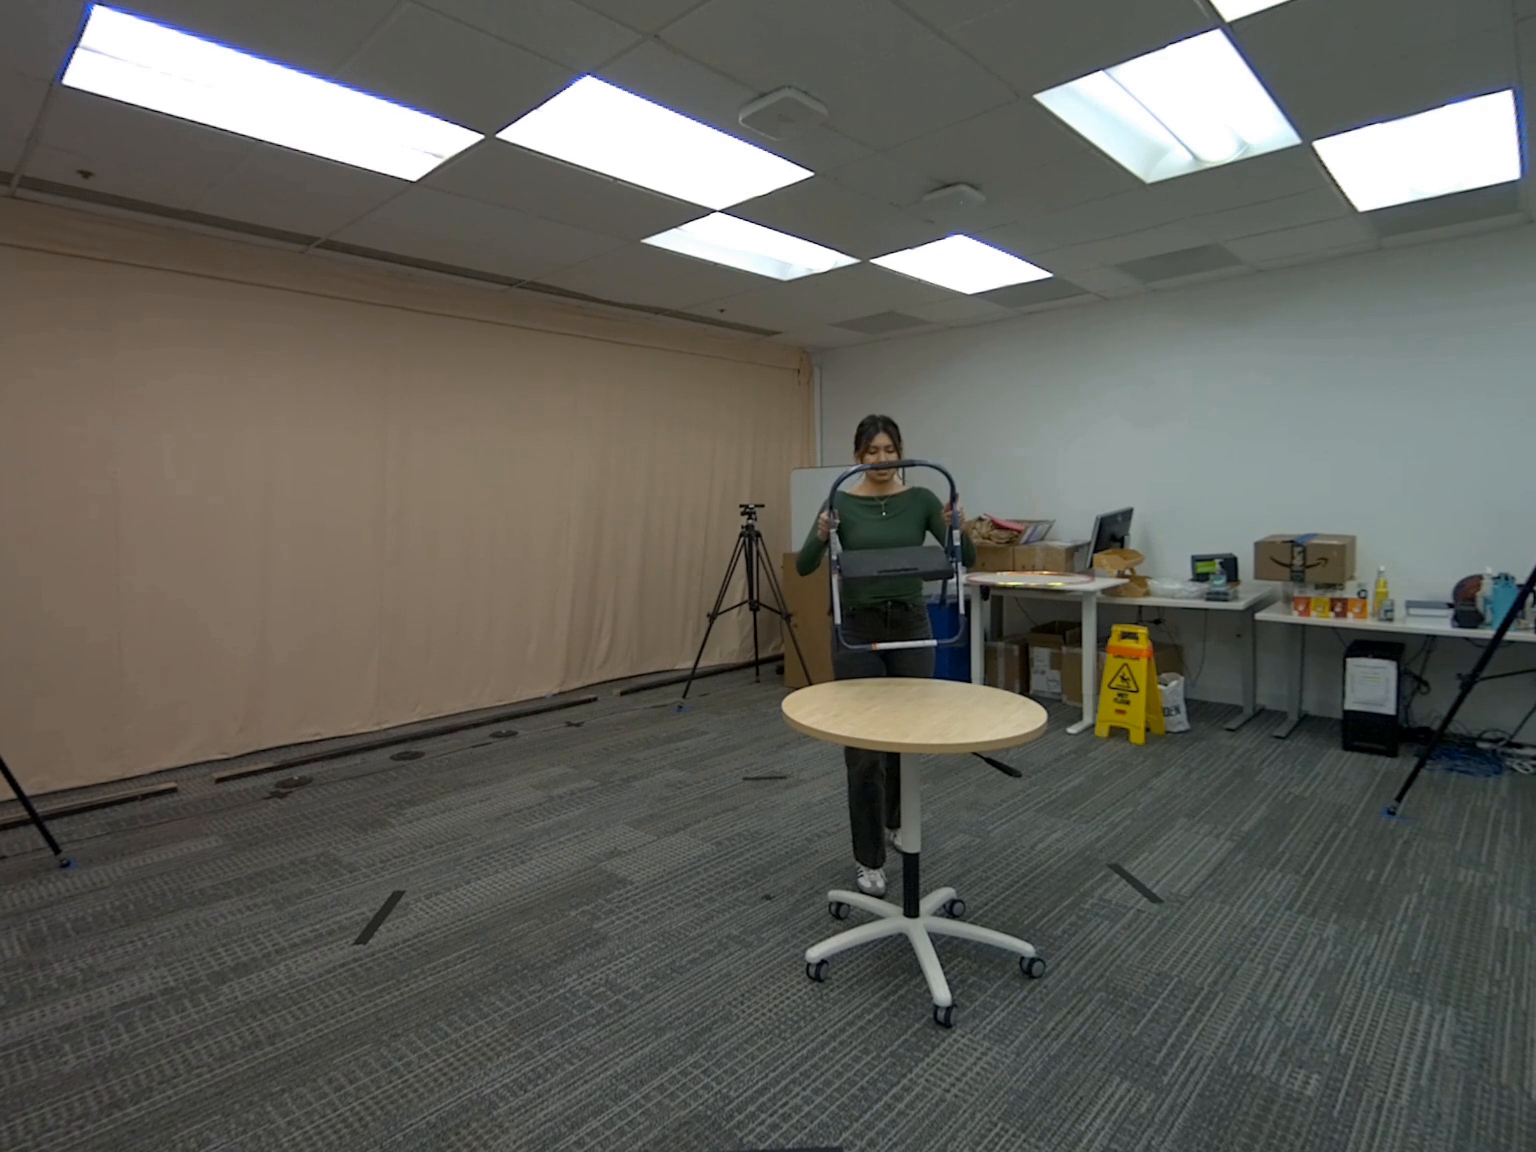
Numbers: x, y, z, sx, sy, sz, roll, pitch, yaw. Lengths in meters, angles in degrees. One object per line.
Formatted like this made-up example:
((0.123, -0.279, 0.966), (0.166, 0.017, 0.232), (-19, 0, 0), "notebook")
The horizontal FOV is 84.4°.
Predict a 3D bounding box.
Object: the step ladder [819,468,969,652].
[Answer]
((0.430, -0.098, 2.773), (0.432, 0.597, 0.353), (-5, 21, 4), "step ladder")
